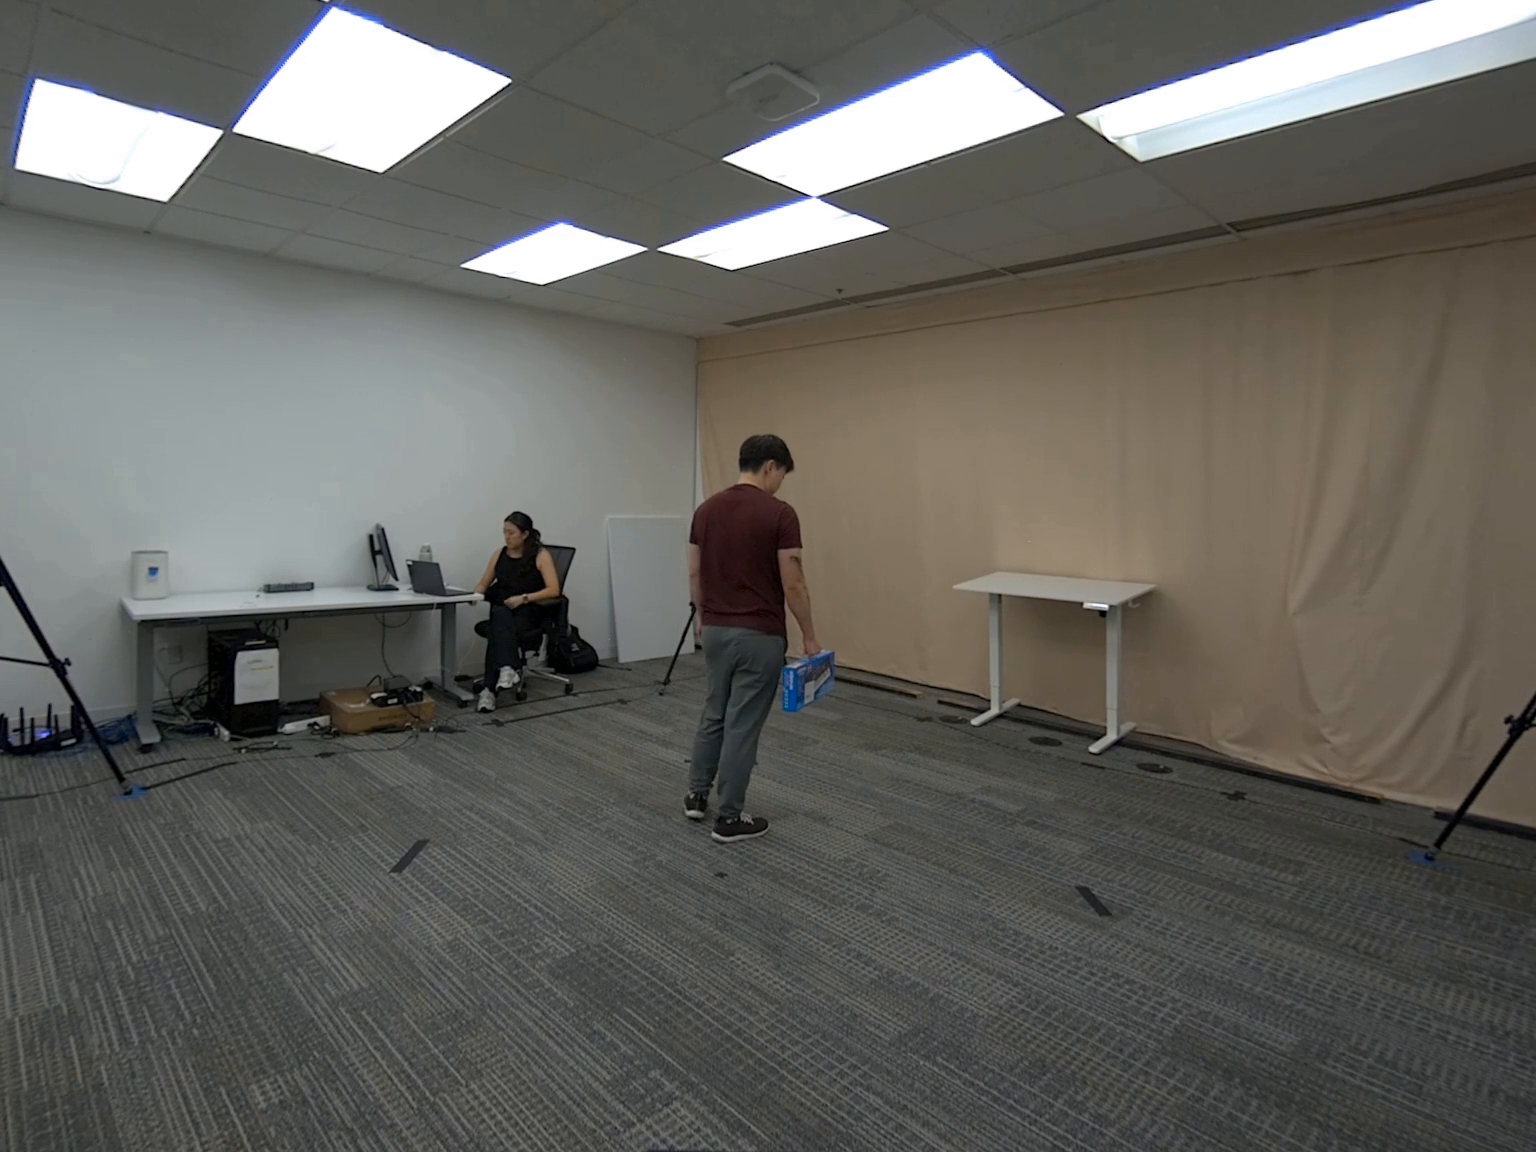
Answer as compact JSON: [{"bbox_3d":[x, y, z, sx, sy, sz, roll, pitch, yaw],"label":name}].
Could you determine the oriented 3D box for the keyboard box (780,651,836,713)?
[{"bbox_3d":[0.158,0.424,3.457,0.060,0.175,0.430,2,5,24],"label":"keyboard box"}]
